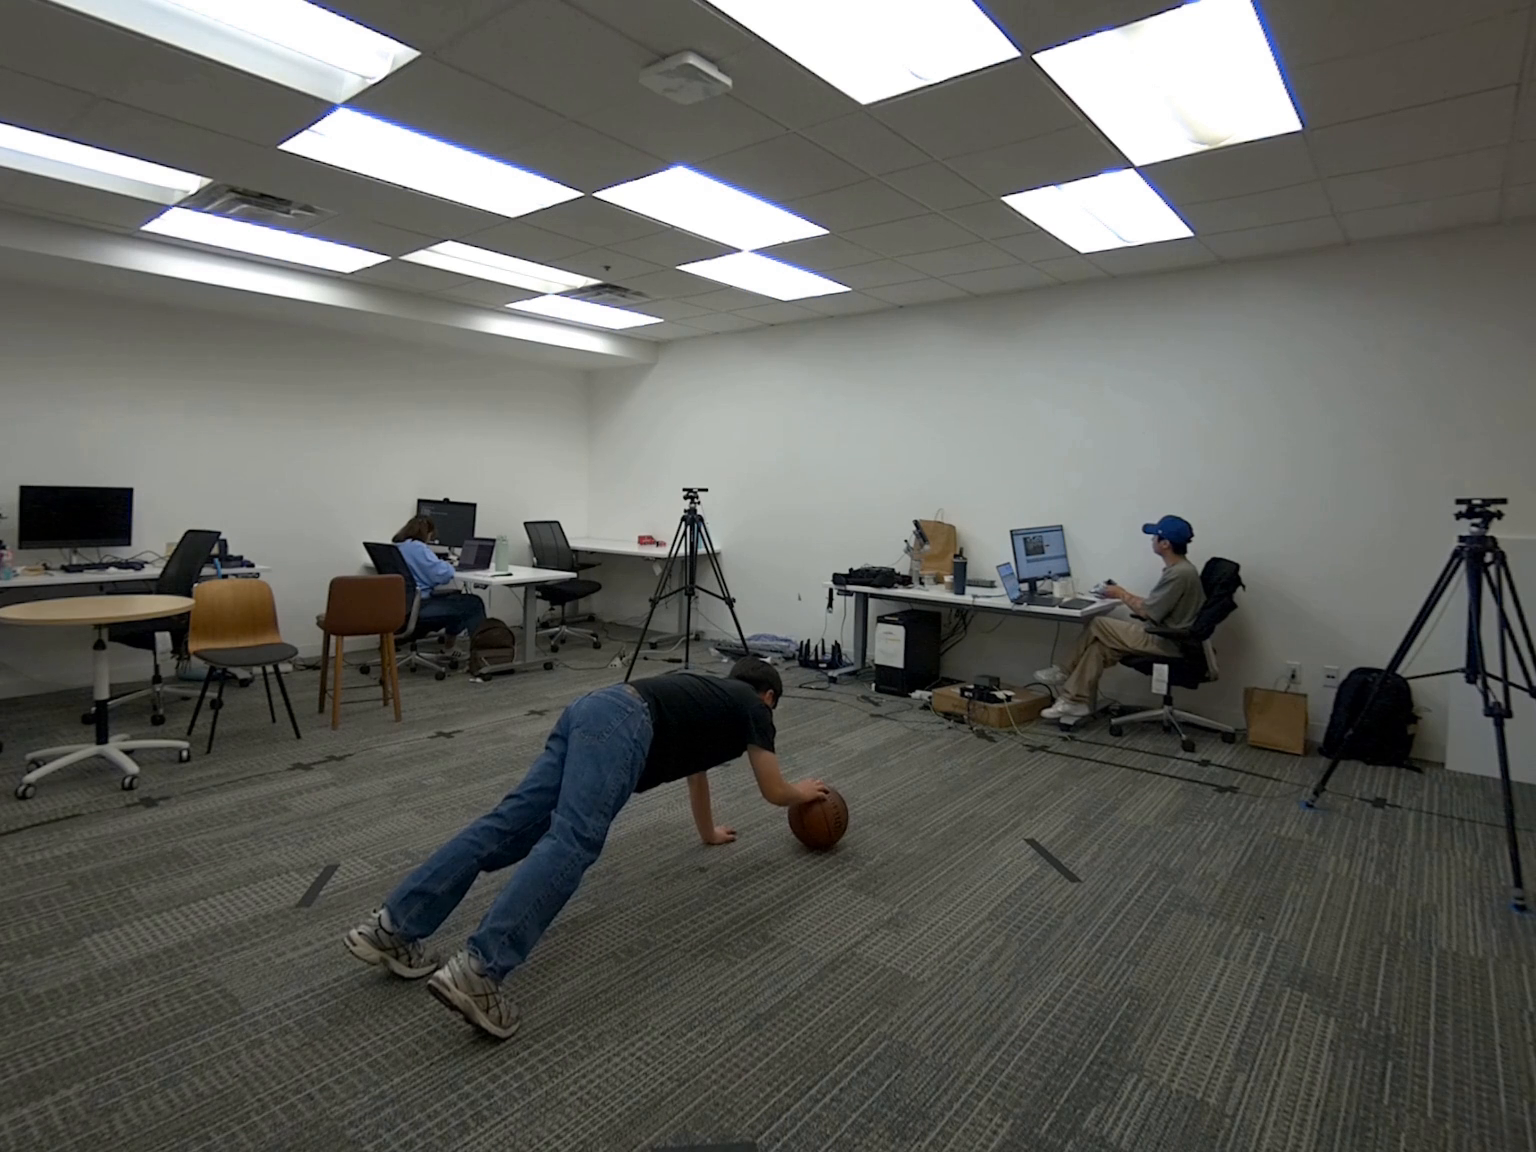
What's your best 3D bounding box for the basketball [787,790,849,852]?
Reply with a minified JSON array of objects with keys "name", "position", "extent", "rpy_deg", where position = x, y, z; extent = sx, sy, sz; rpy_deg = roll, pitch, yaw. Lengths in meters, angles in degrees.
[{"name":"basketball","position":[0.189,0.930,3.337],"extent":[0.235,0.235,0.237],"rpy_deg":[1,4,-2]}]
